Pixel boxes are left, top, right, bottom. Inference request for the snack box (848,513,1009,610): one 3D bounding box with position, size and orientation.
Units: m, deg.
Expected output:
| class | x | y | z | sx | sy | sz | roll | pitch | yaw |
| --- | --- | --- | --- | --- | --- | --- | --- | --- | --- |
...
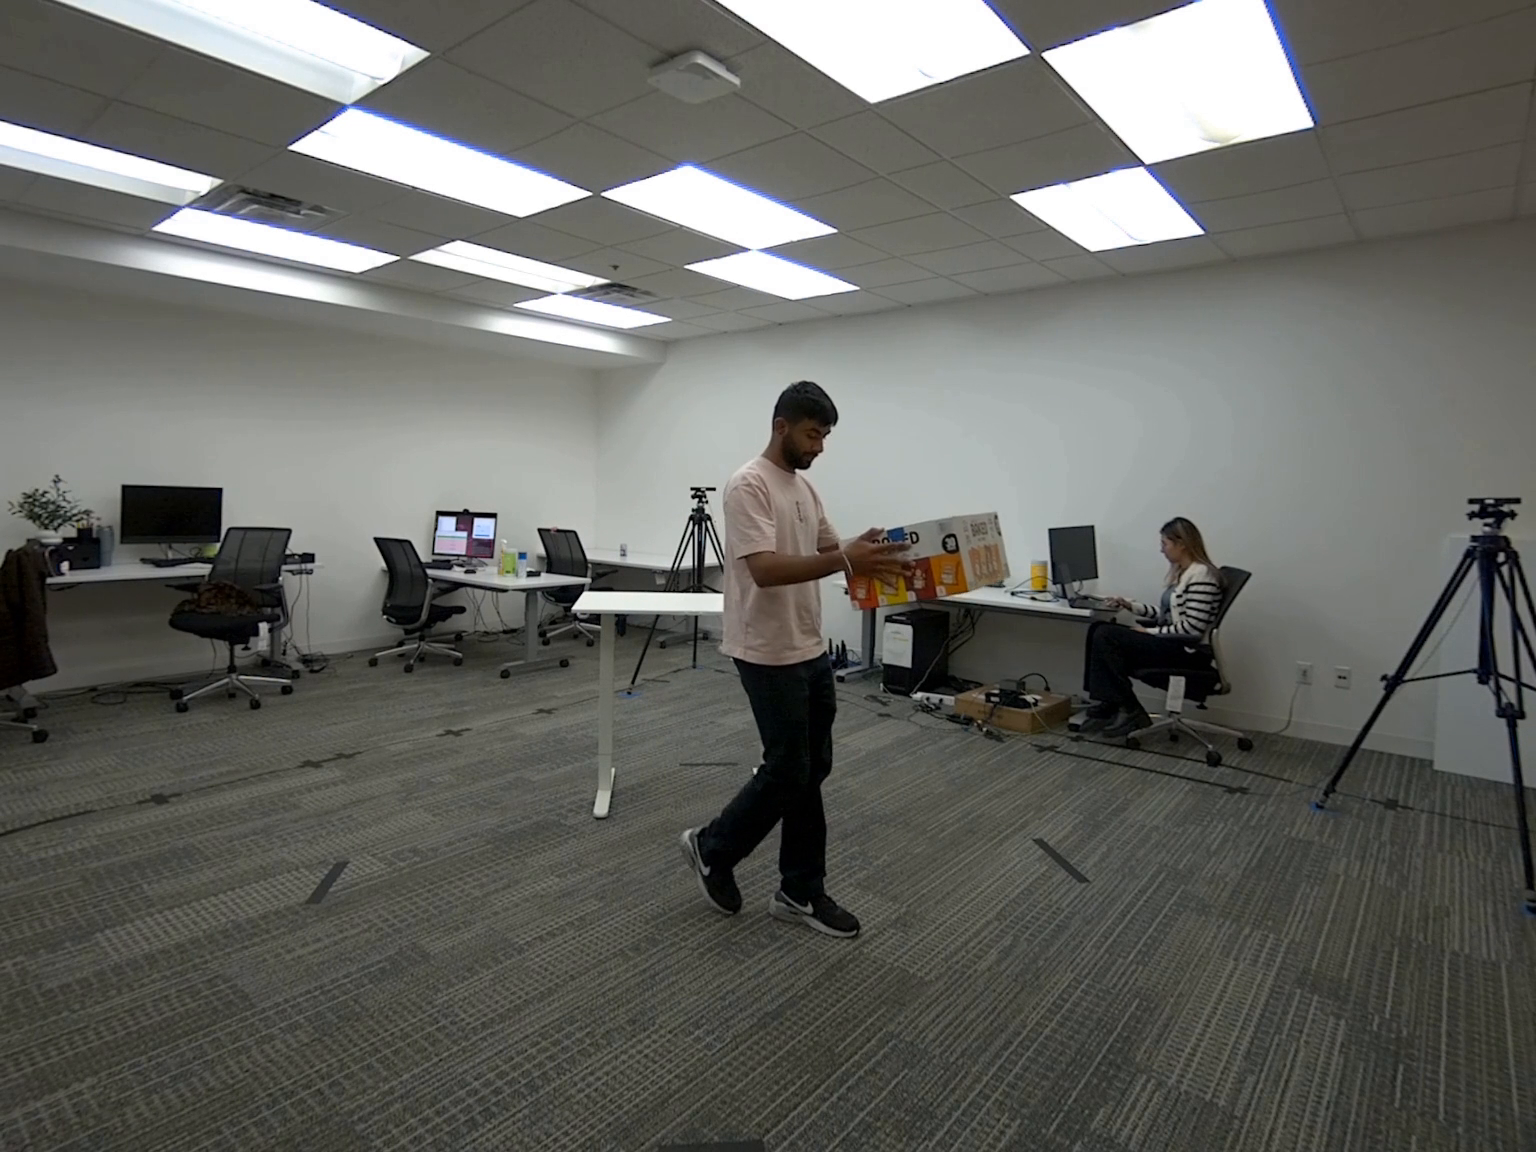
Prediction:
| class | x | y | z | sx | sy | sz | roll | pitch | yaw |
| --- | --- | --- | --- | --- | --- | --- | --- | --- | --- |
| snack box | 0.444 | -0.037 | 2.450 | 0.348 | 0.206 | 0.395 | -11 | 0 | 32 |
